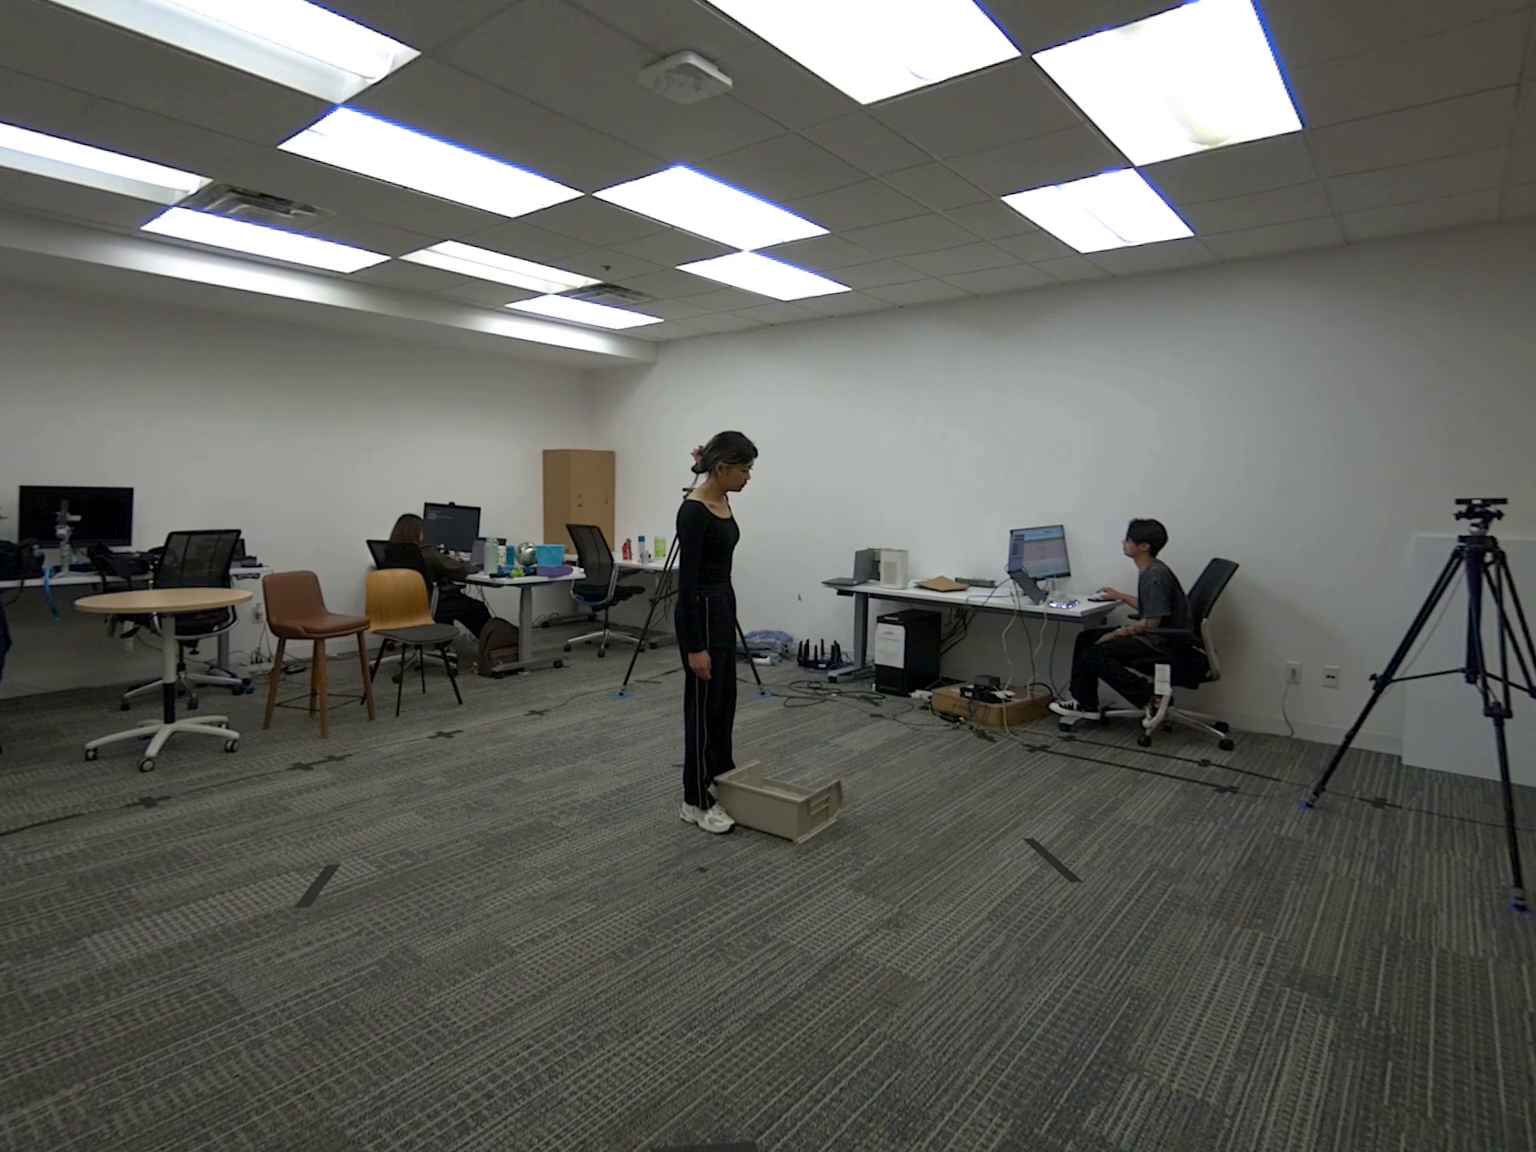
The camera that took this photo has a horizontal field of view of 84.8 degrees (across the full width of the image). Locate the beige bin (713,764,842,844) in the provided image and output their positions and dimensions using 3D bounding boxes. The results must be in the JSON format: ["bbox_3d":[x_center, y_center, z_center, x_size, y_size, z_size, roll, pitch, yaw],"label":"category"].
[{"bbox_3d":[0.035,0.935,3.603,0.436,0.188,0.367,5,8,33],"label":"beige bin"}]
